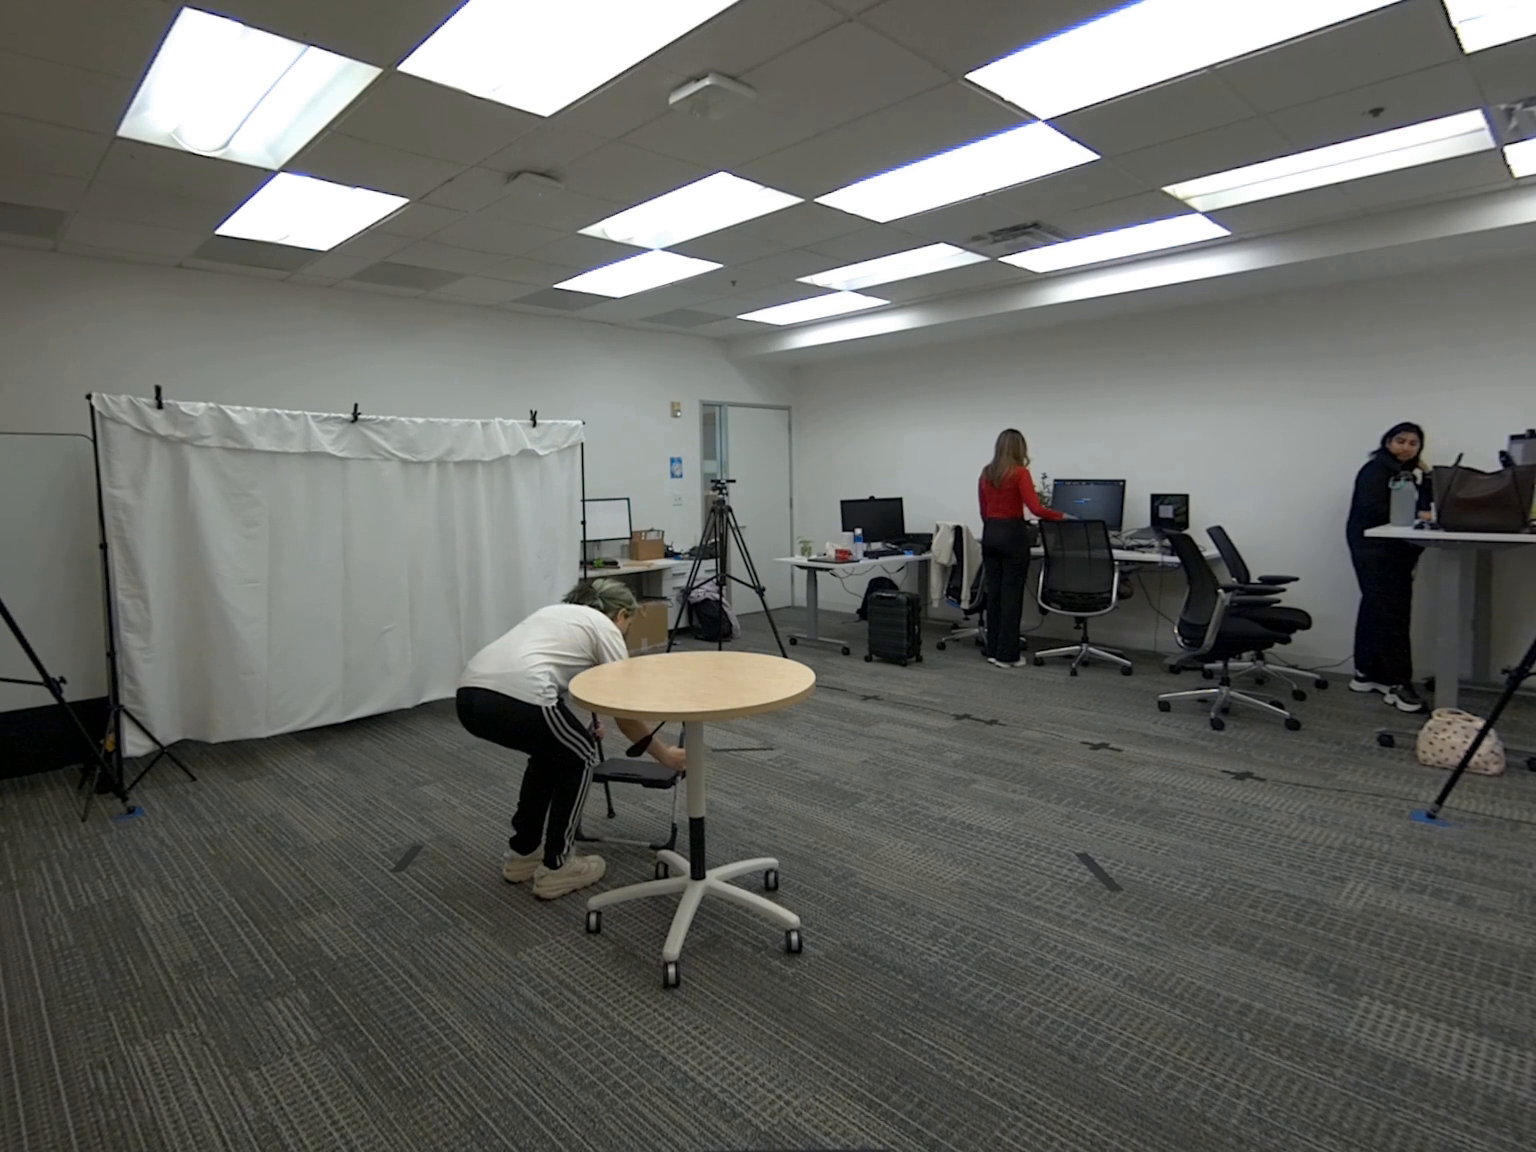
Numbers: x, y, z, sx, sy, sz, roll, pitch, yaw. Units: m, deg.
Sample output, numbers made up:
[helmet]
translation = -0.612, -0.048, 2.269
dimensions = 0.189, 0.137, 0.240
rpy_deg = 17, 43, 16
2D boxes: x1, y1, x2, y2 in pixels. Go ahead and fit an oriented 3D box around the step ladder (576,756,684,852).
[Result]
[step ladder]
translation = -0.504, 0.711, 3.379
dimensions = 0.437, 0.607, 0.343
rpy_deg = 0, -1, 16
